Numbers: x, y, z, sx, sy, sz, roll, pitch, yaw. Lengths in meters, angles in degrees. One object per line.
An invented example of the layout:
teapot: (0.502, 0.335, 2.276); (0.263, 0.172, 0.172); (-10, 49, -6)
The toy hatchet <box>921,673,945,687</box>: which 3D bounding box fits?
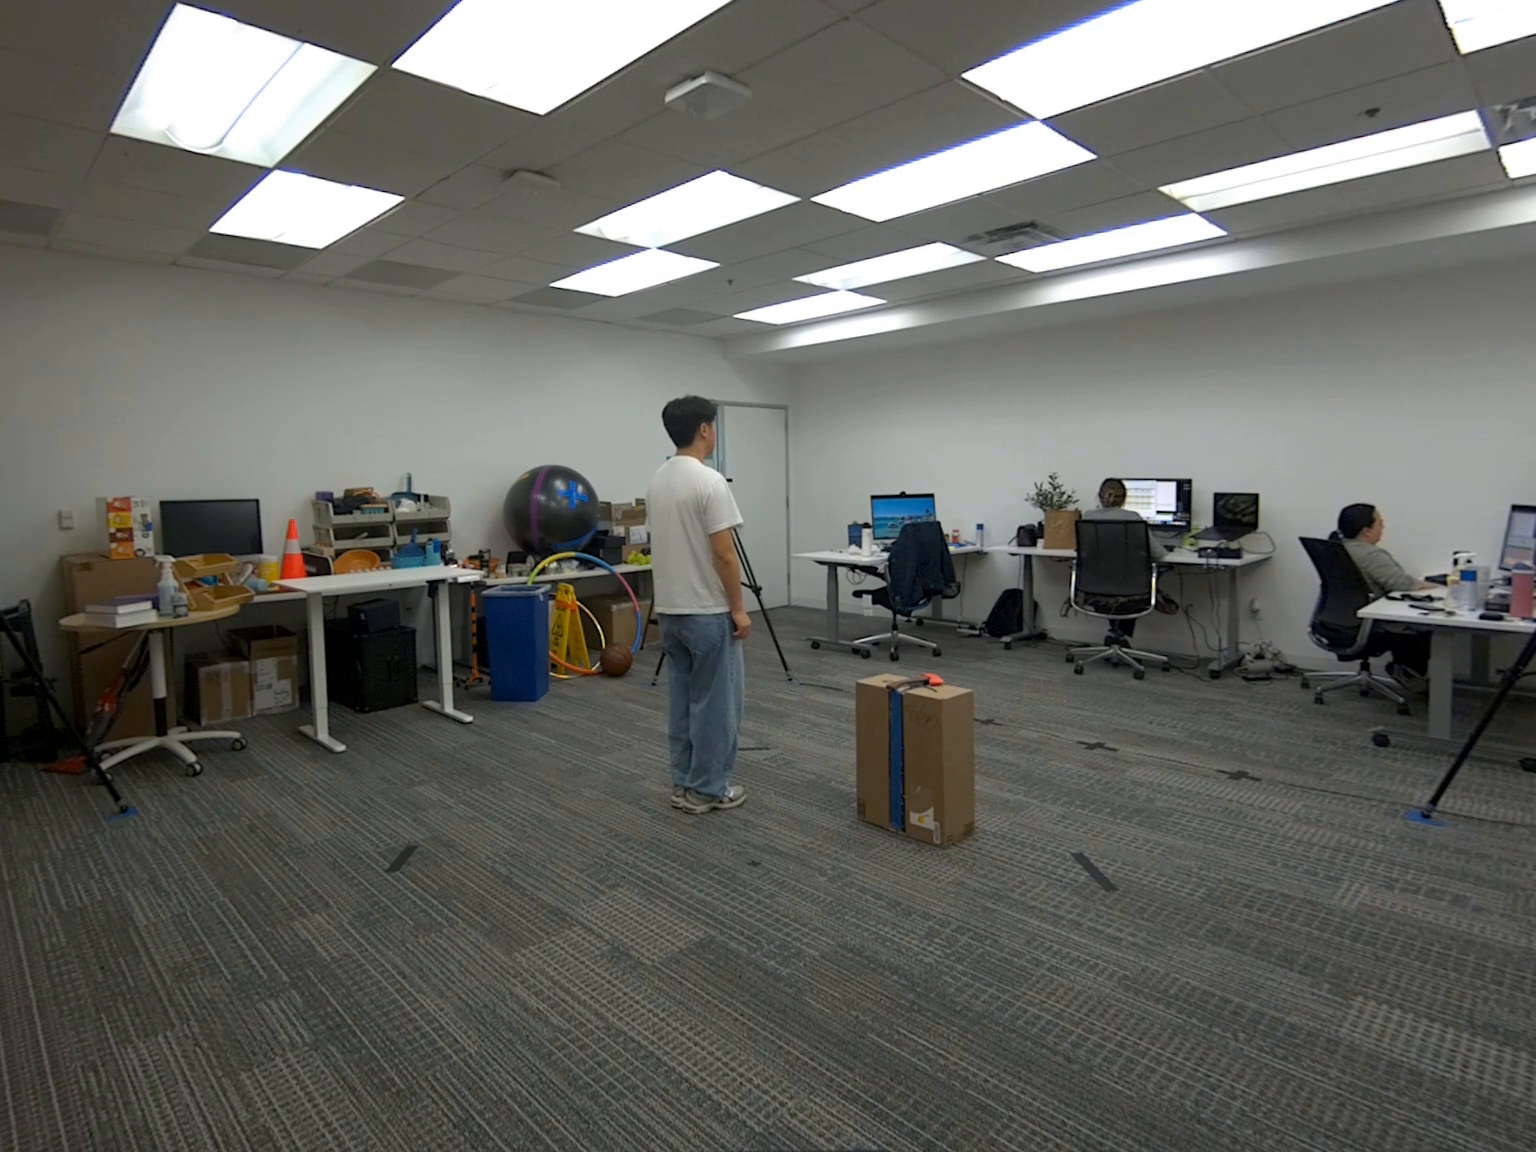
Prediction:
toy hatchet: (0.586, 0.423, 3.378); (0.135, 0.029, 0.263); (11, 13, 42)
